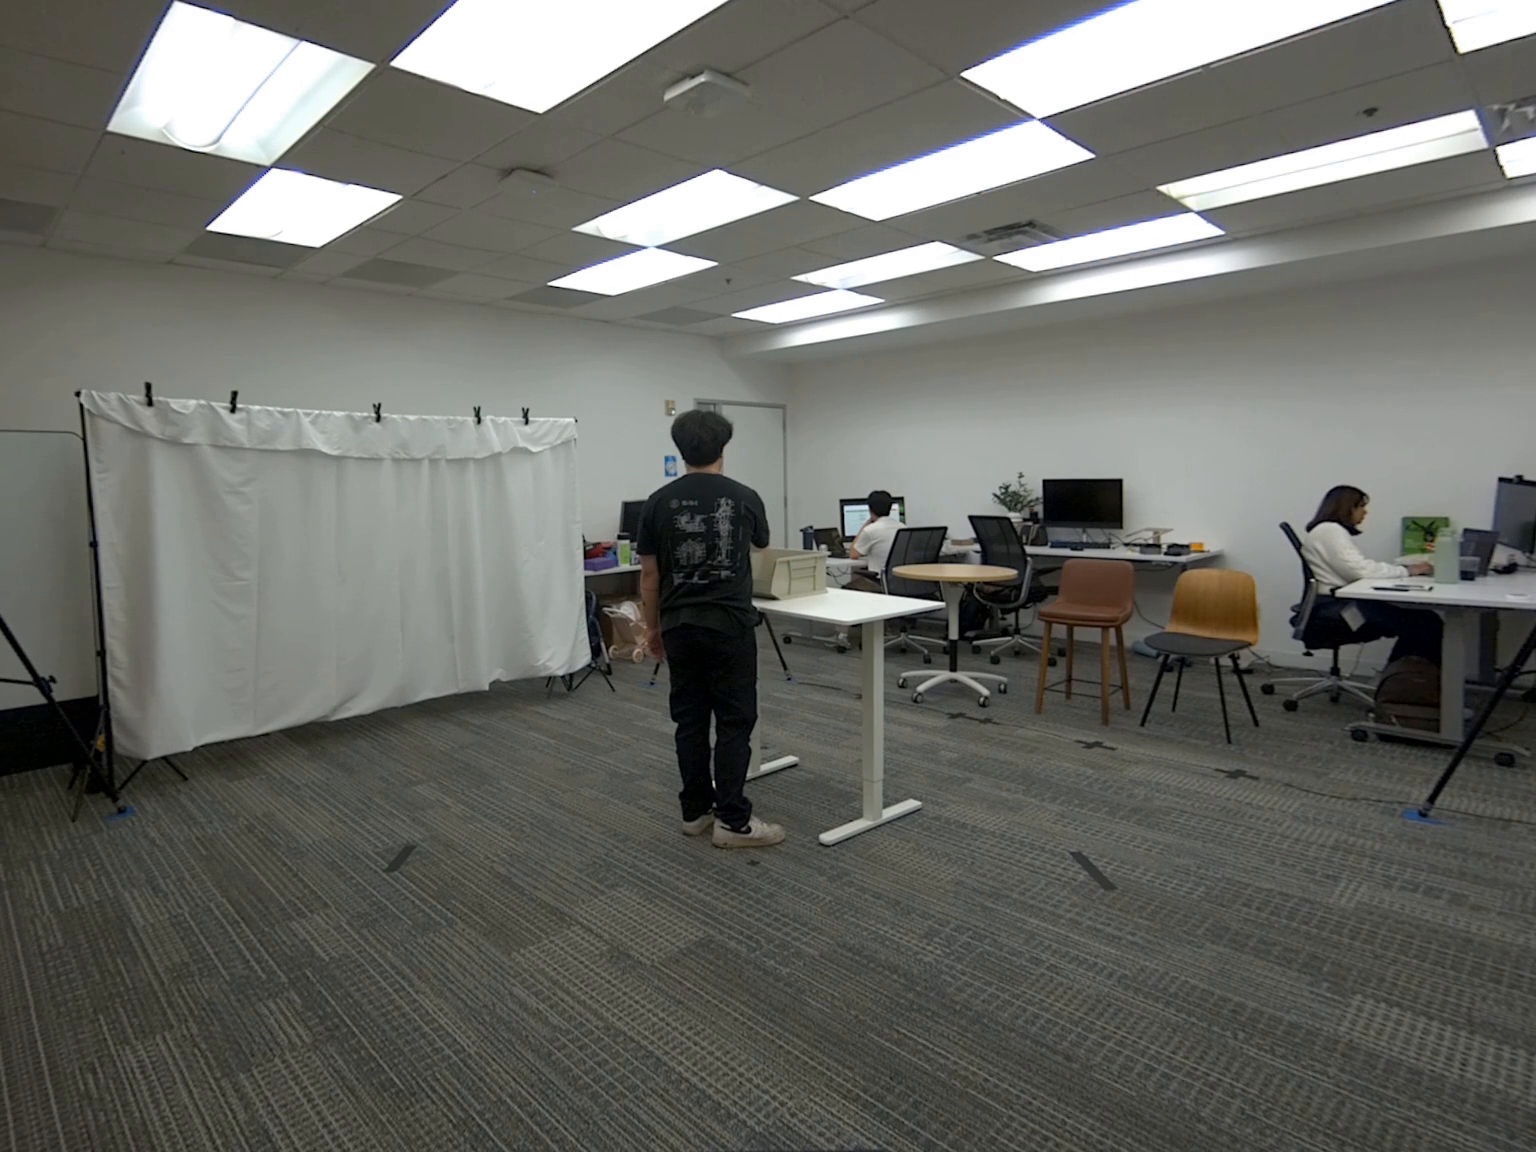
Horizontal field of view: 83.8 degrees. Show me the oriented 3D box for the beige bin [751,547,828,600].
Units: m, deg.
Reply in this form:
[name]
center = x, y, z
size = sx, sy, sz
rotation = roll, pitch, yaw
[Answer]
[beige bin]
center = 0.000, -0.011, 3.821
size = 0.367, 0.188, 0.435
rotation = -6, 8, -44
